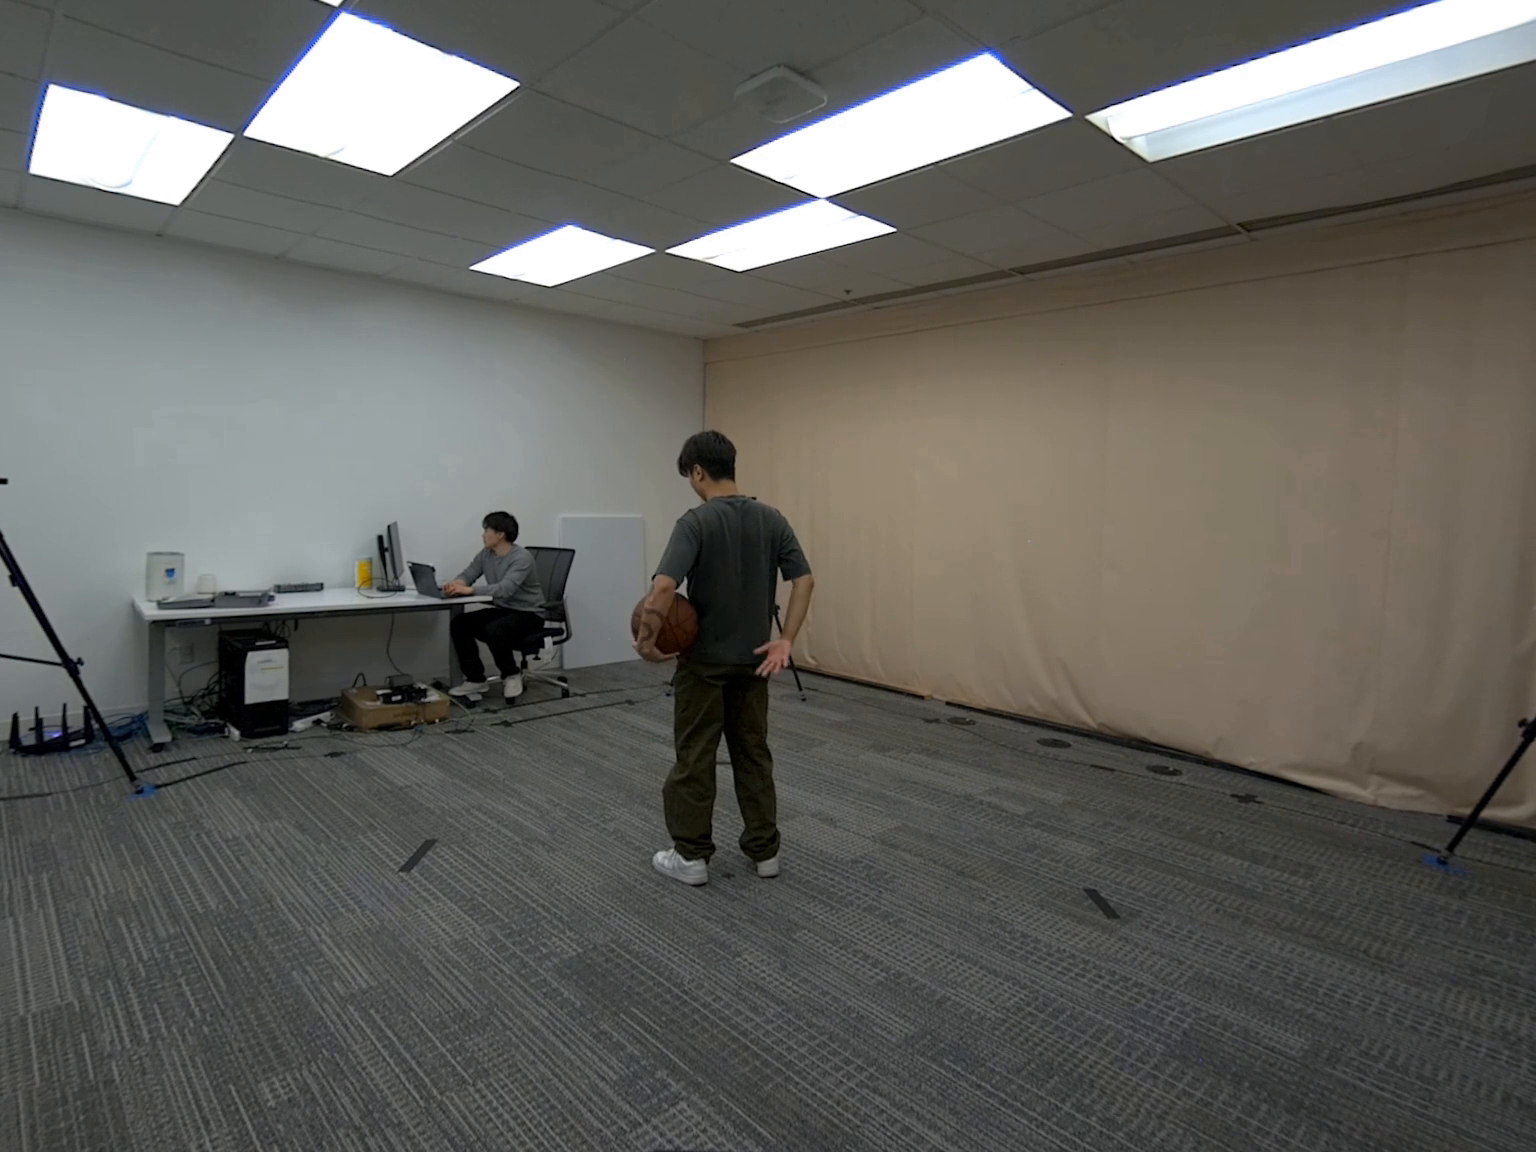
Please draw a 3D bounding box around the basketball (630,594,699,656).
[{"bbox_3d":[-0.367,0.165,3.007,0.236,0.235,0.237,1,4,-1],"label":"basketball"}]
